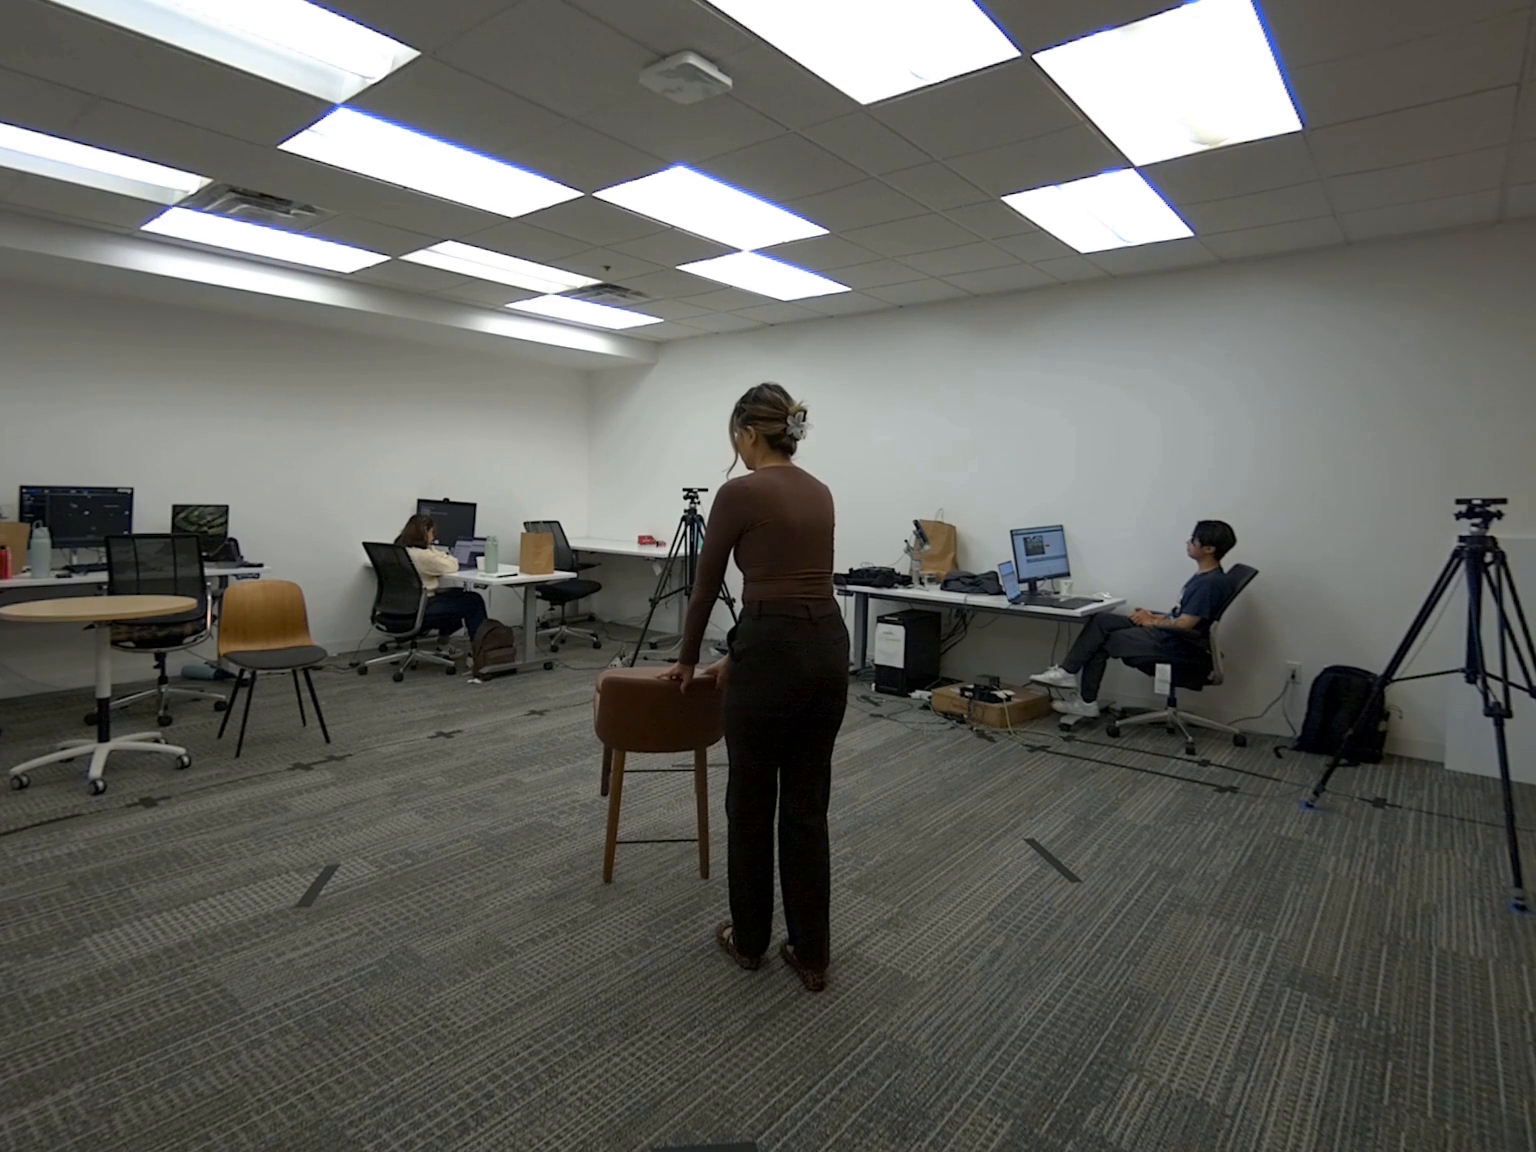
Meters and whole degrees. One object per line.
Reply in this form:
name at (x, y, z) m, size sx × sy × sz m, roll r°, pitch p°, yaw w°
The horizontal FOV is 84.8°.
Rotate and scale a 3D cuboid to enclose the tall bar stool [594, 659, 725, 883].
tall bar stool at (-0.403, 0.589, 3.016) m, size 0.453 × 0.871 × 0.482 m, roll 1°, pitch 28°, yaw -8°
